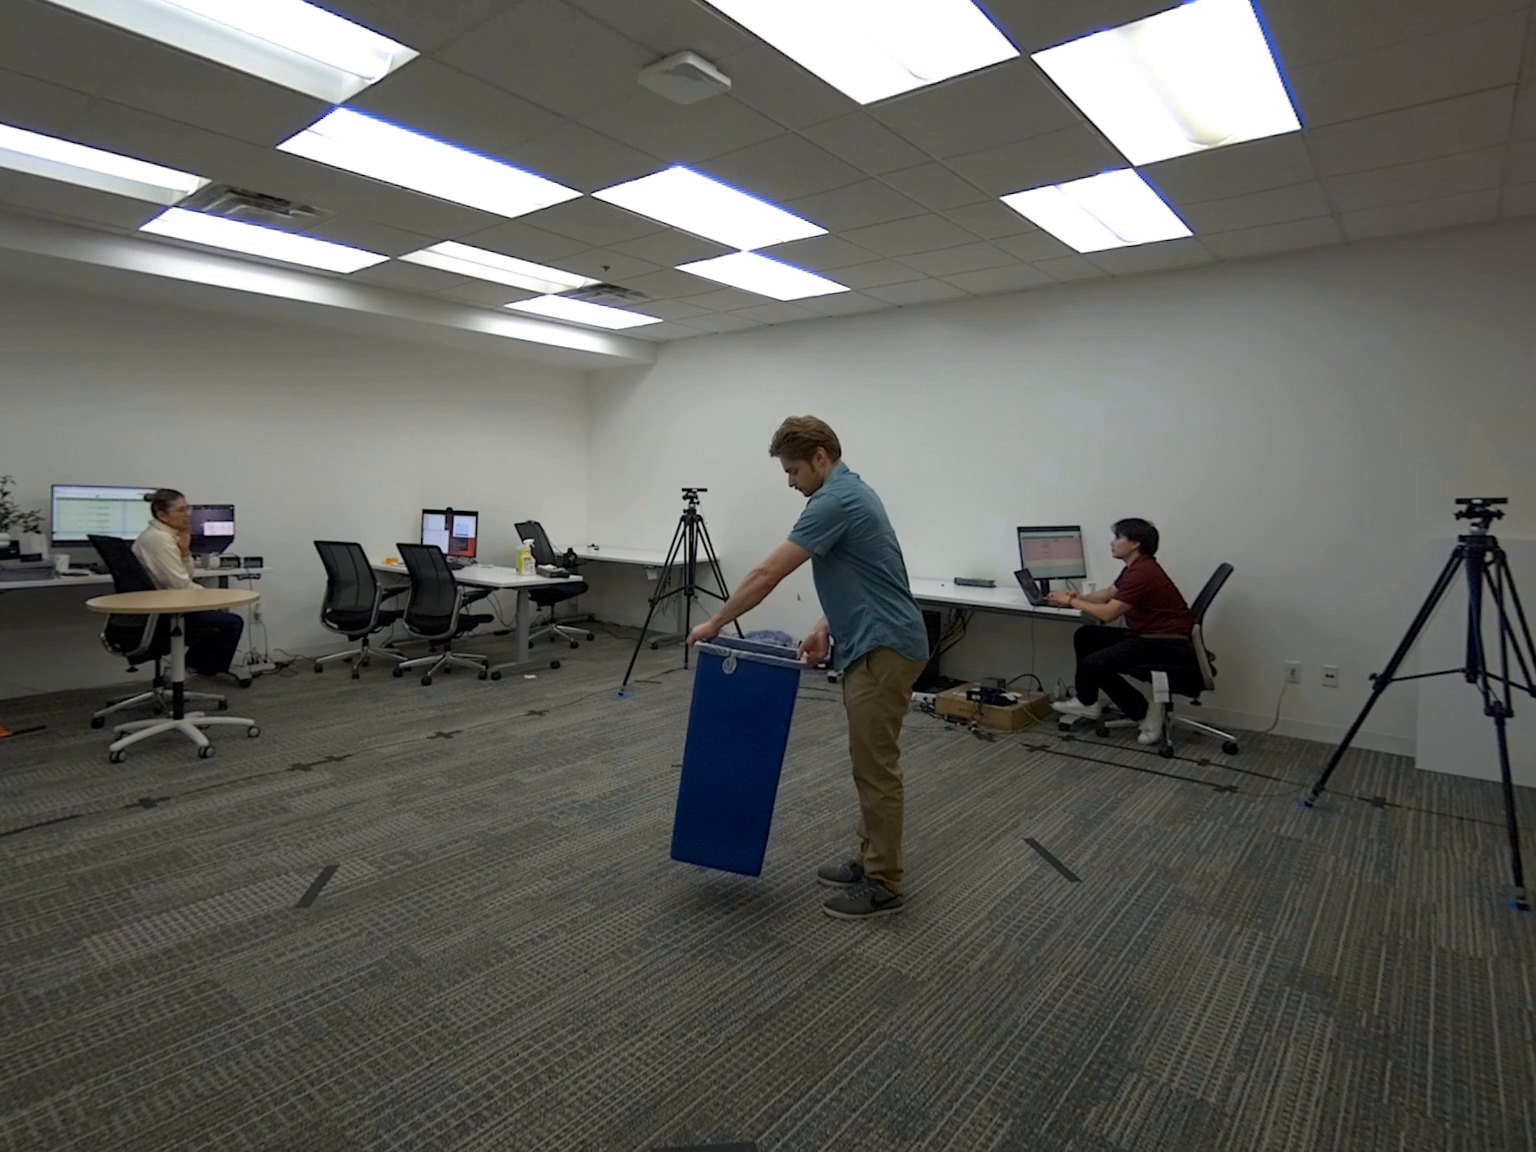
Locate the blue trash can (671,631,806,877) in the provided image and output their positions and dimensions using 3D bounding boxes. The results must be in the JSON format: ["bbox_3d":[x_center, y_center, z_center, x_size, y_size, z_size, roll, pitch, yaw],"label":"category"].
[{"bbox_3d":[-0.107,0.597,2.921,0.375,0.713,0.377,9,0,2],"label":"blue trash can"}]
